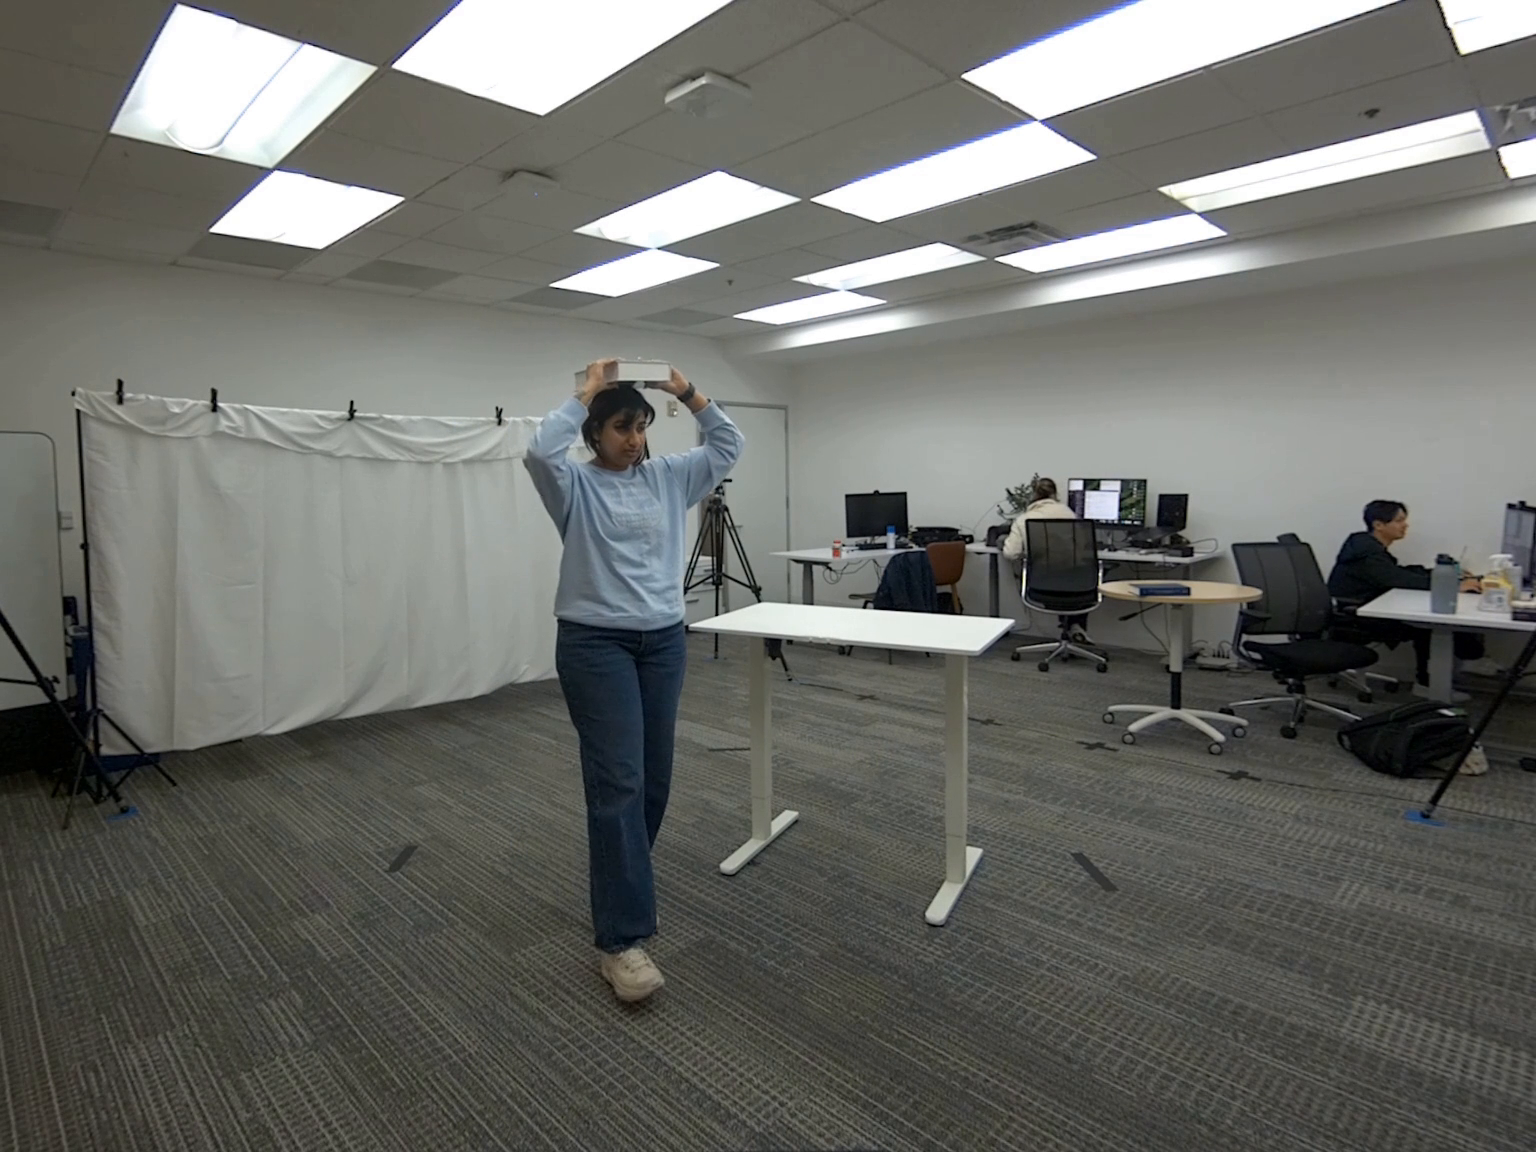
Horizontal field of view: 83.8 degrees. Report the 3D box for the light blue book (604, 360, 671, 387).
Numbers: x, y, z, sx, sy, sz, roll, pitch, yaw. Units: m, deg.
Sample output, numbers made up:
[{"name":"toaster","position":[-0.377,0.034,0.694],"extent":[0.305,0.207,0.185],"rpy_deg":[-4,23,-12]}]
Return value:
[{"name":"light blue book","position":[-0.444,-0.600,2.580],"extent":[0.187,0.059,0.268],"rpy_deg":[-11,8,-40]}]
